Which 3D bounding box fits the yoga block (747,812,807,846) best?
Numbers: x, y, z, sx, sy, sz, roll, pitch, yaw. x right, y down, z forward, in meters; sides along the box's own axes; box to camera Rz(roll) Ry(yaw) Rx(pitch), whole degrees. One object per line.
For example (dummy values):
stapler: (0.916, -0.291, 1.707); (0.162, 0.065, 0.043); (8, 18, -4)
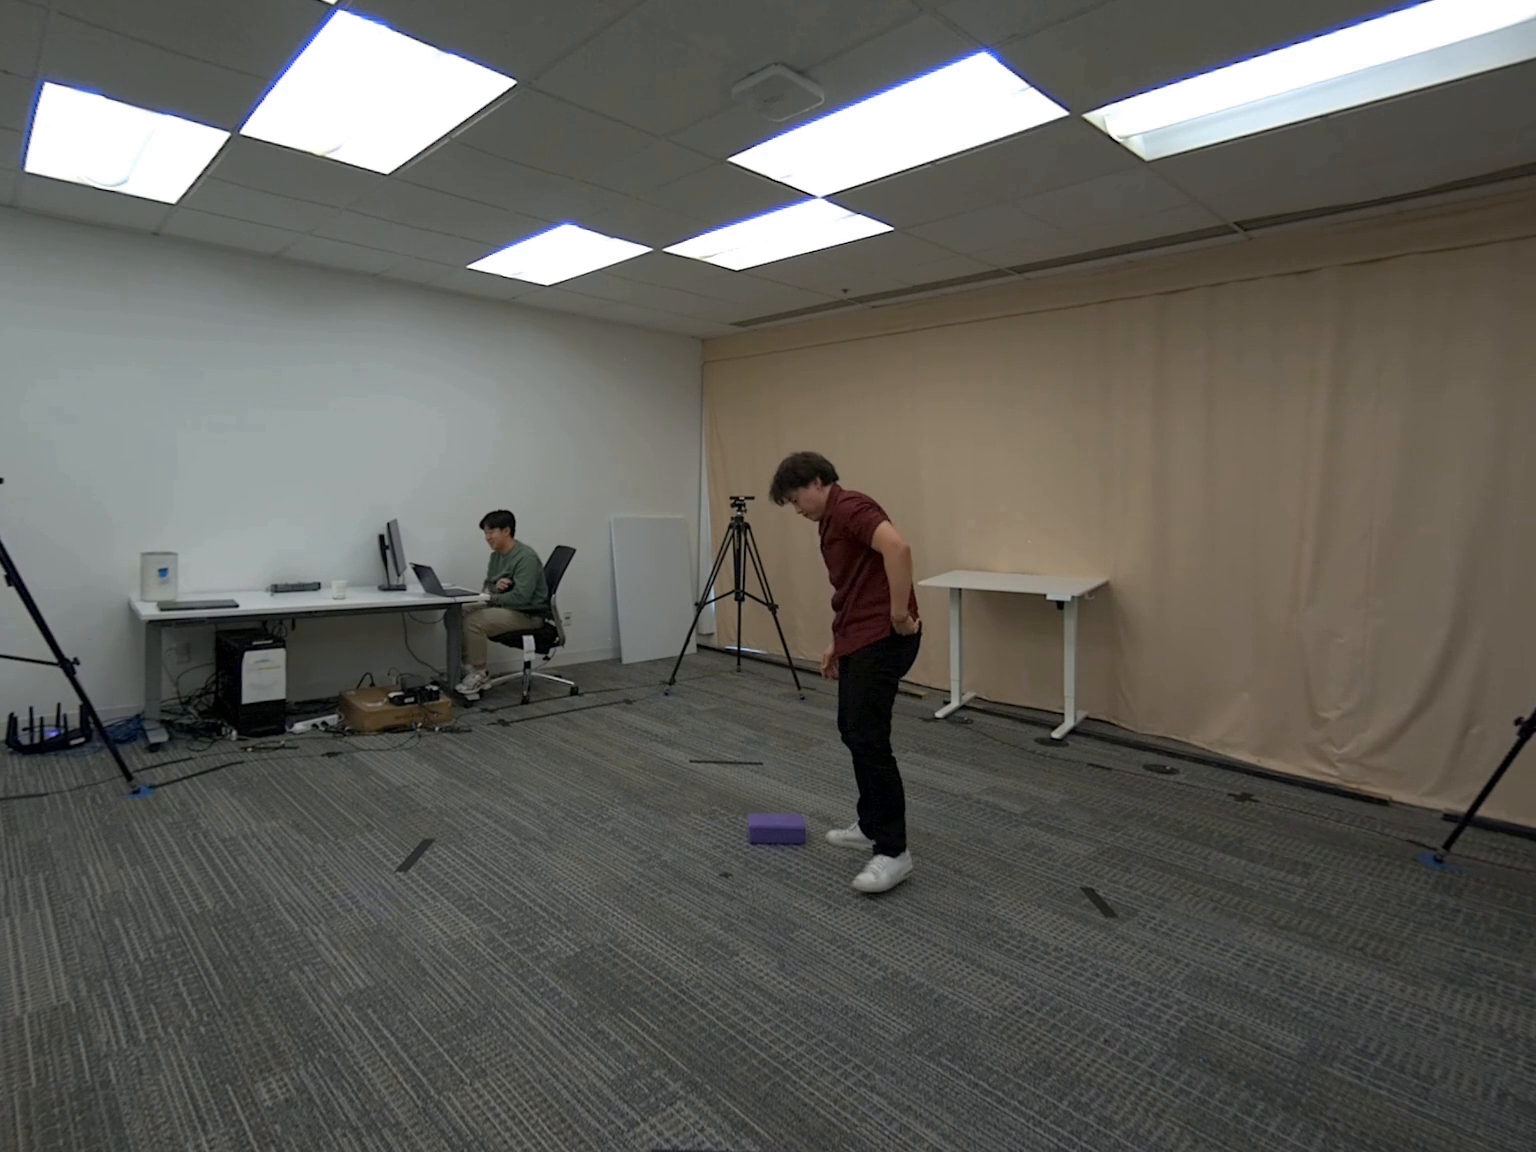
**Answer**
yoga block: (0.029, 1.033, 3.460); (0.229, 0.076, 0.149); (0, 7, 0)
